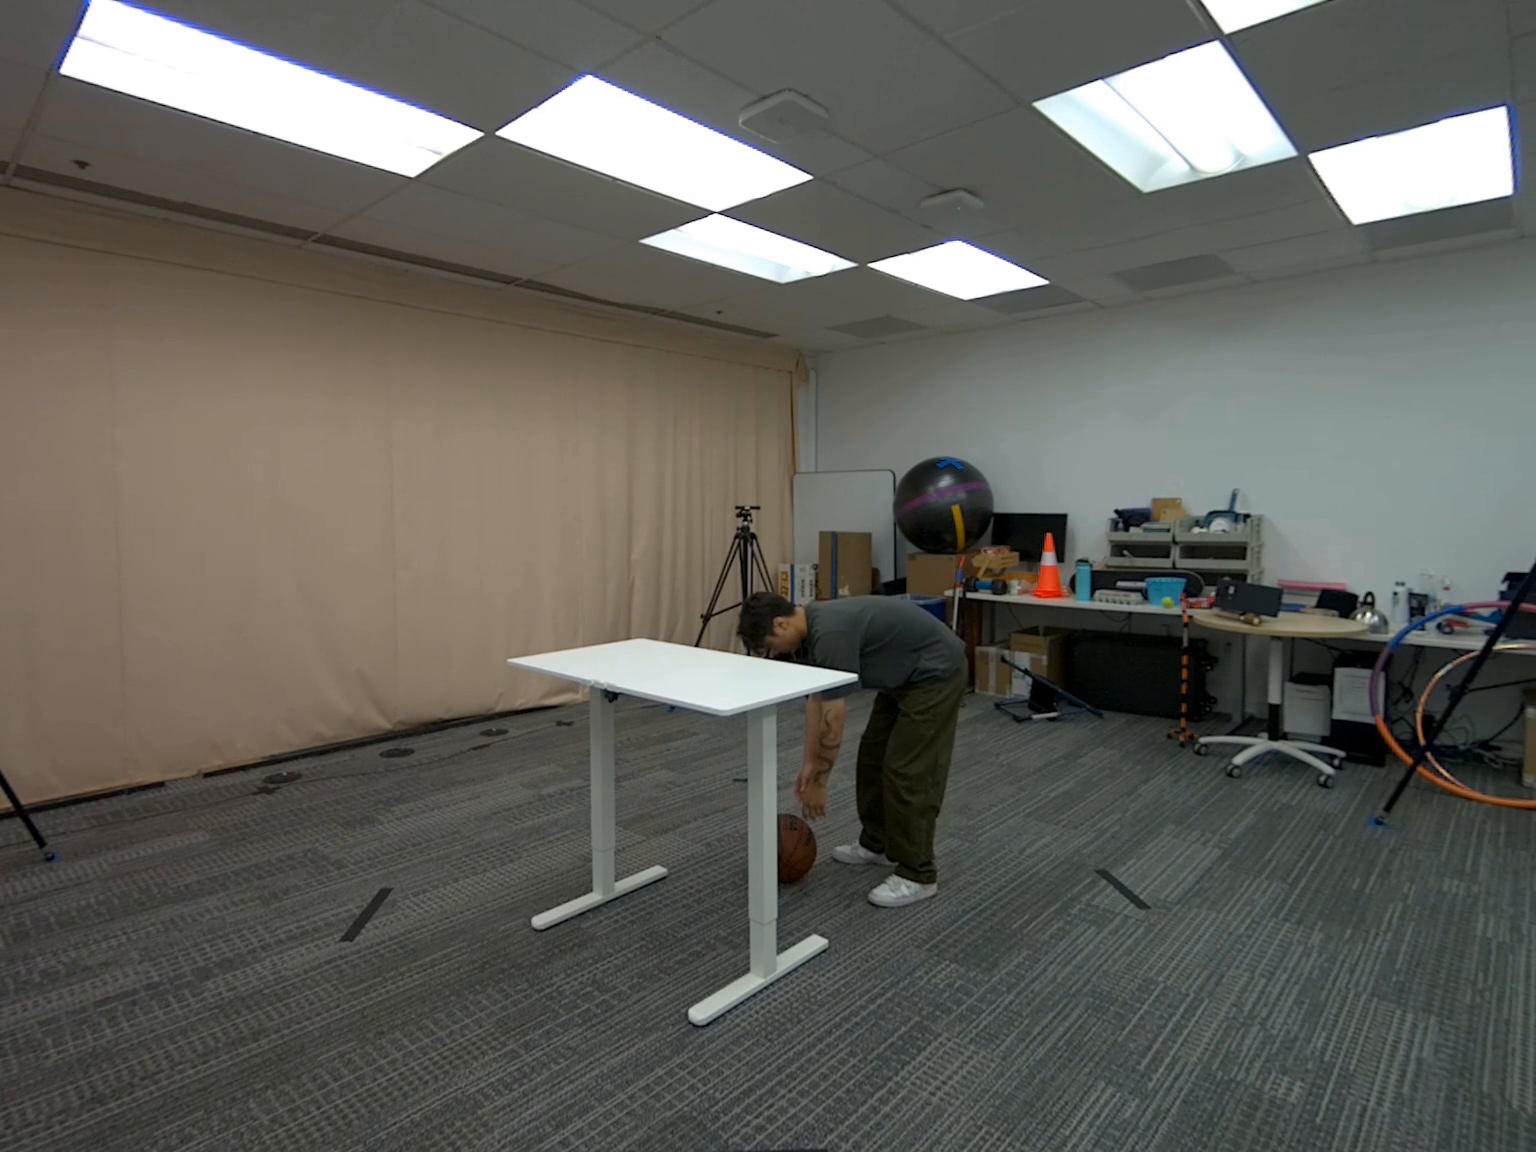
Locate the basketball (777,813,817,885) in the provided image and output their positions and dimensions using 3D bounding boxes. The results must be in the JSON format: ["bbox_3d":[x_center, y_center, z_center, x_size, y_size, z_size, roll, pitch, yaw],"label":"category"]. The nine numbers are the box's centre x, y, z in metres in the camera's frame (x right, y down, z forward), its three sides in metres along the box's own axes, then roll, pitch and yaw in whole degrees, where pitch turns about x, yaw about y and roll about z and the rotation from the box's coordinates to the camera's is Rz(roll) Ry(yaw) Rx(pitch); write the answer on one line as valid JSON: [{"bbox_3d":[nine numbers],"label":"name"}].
[{"bbox_3d":[0.066,1.011,3.141,0.236,0.235,0.237,0,4,-2],"label":"basketball"}]
